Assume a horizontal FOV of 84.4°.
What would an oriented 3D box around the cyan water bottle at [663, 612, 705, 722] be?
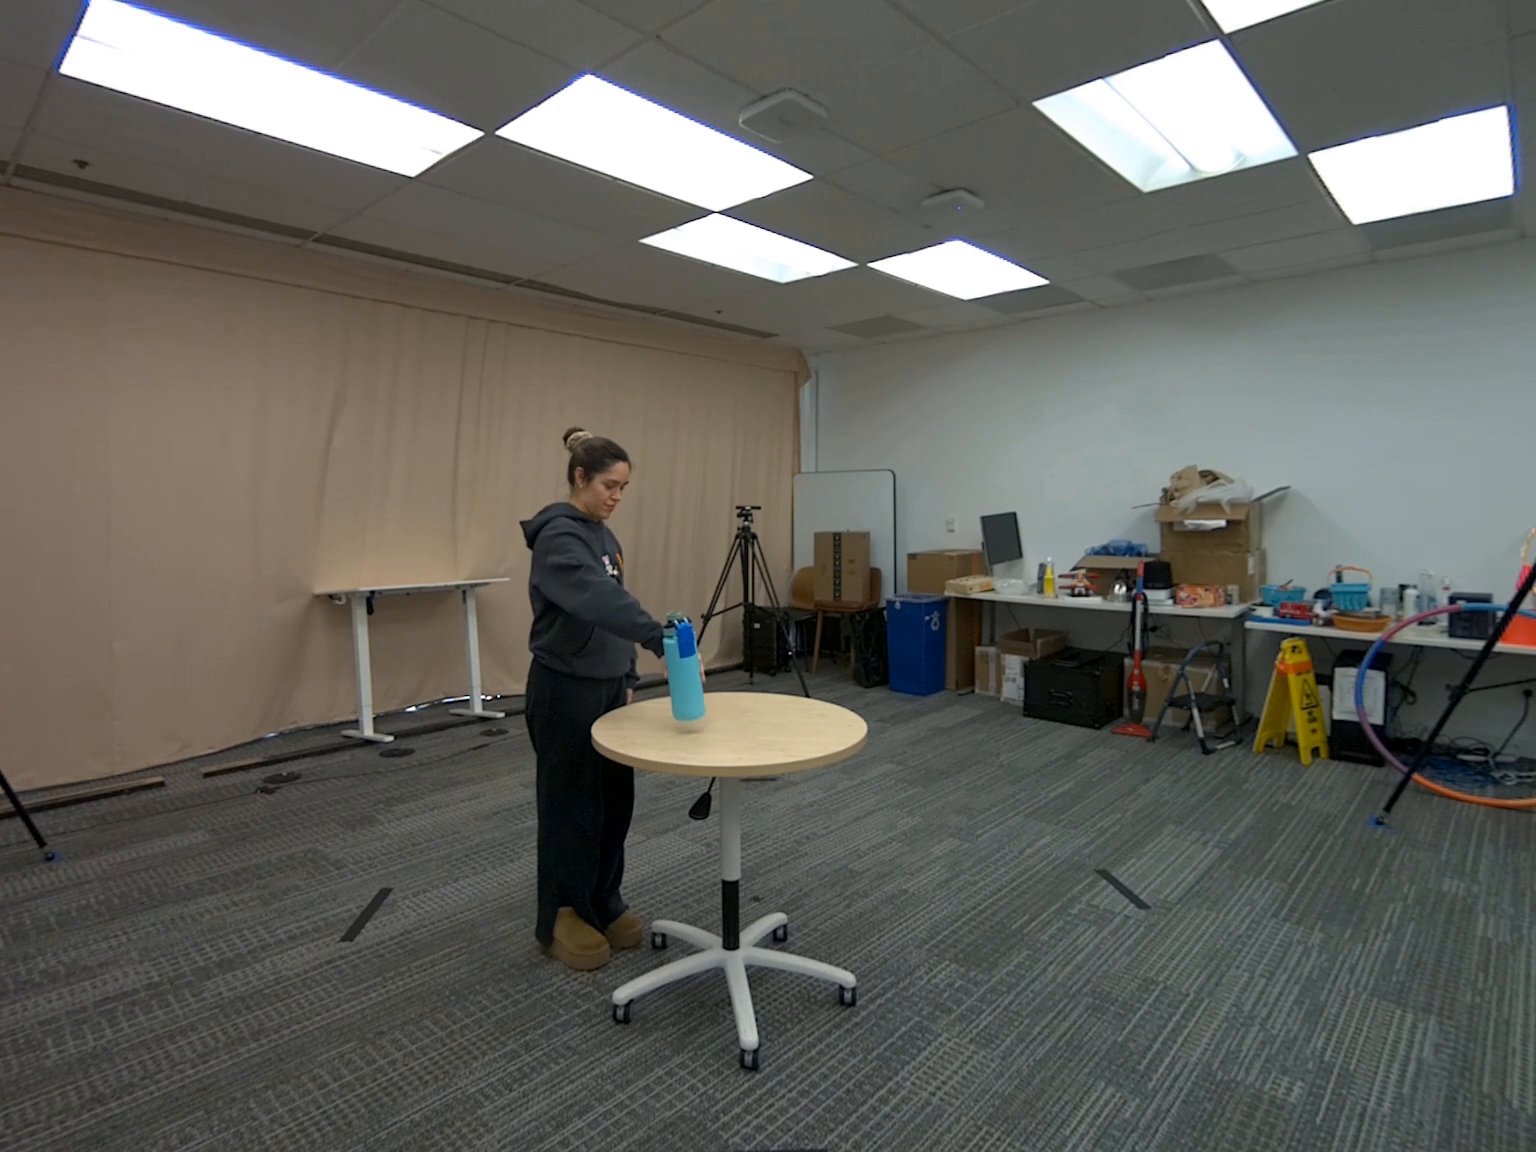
[{"bbox_3d":[-0.220,0.235,2.251,0.092,0.281,0.093,-7,9,-1],"label":"cyan water bottle"}]
